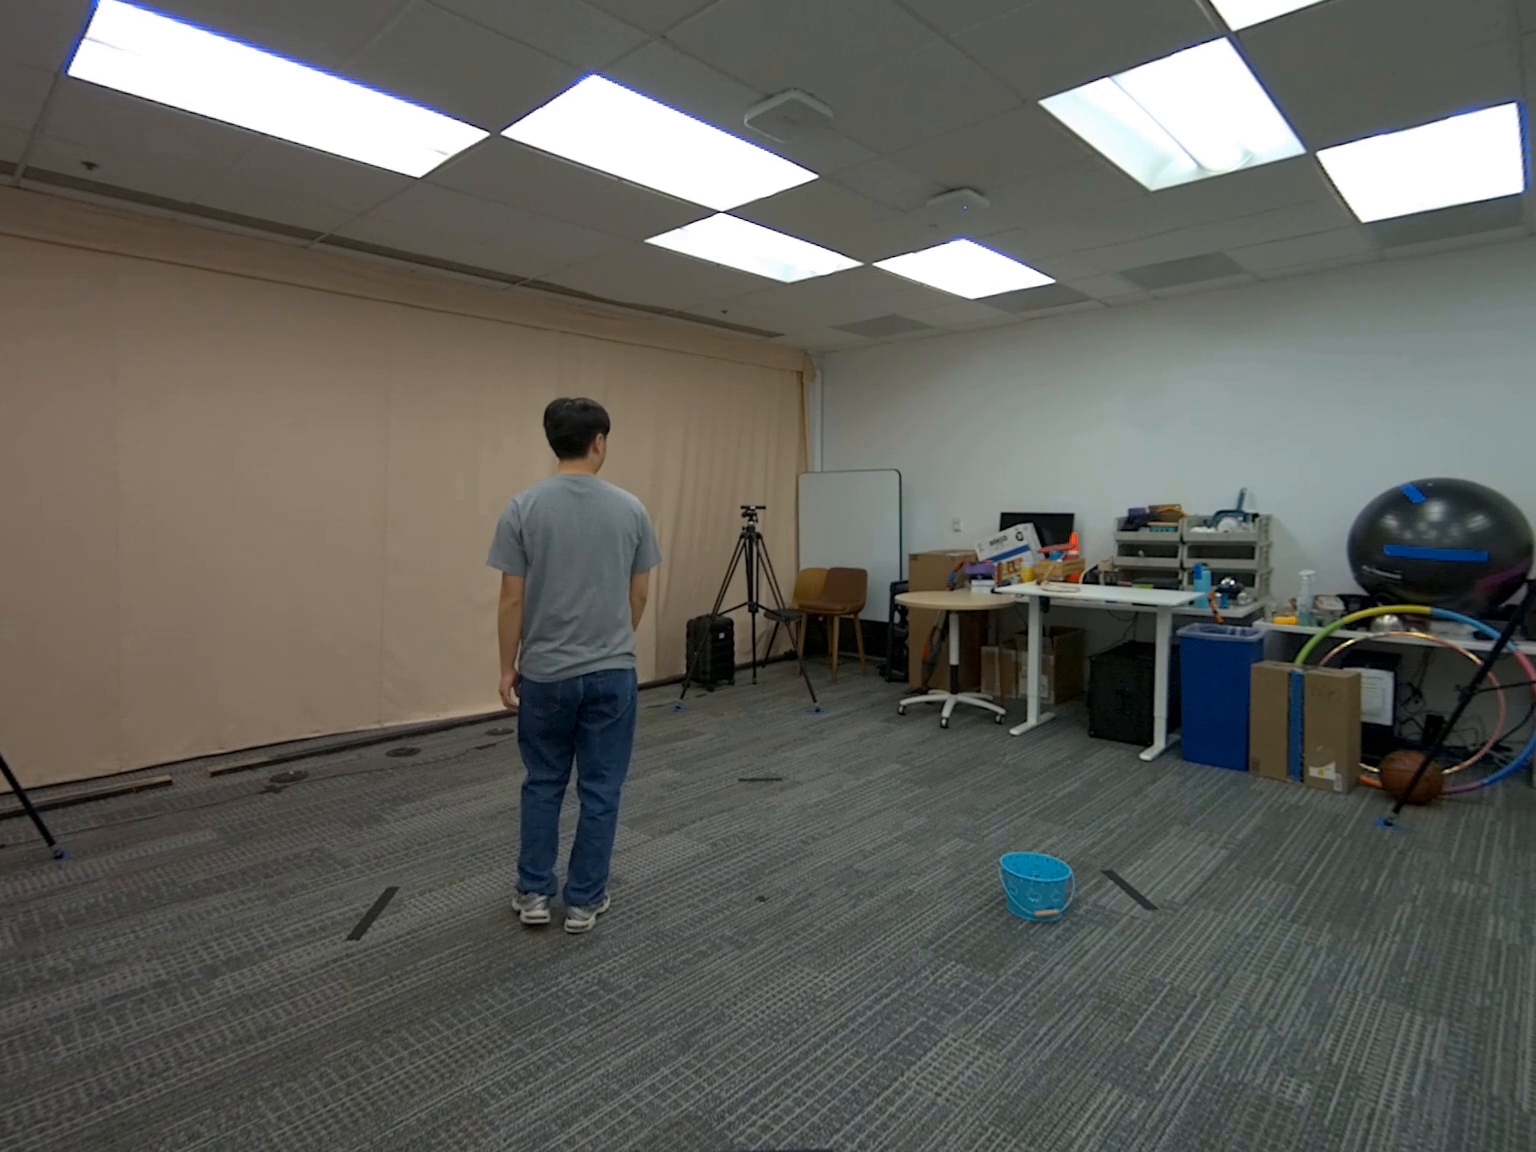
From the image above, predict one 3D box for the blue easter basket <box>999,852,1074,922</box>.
[{"bbox_3d":[0.923,1.074,2.889,0.243,0.155,0.244,0,4,-2],"label":"blue easter basket"}]
